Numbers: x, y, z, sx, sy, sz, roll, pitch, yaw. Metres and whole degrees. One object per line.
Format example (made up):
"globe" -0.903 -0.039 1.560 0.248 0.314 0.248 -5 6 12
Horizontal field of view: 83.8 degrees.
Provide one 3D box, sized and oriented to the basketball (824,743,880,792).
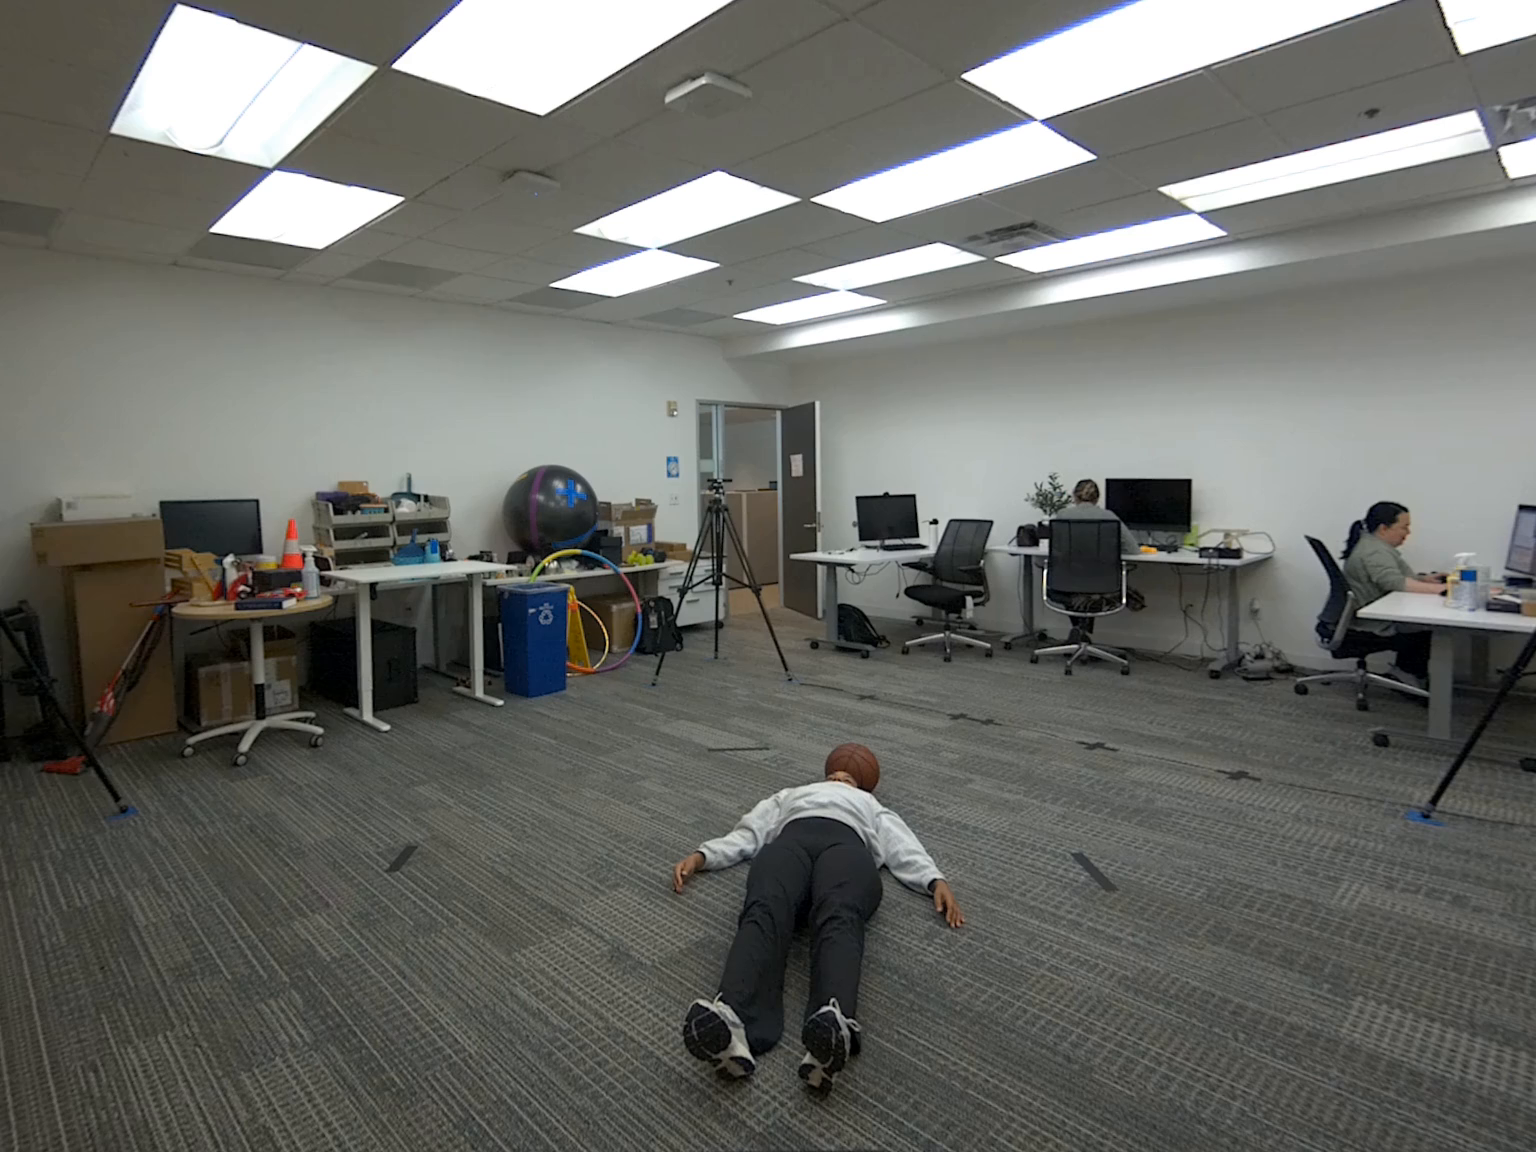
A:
"basketball" 0.368 0.848 3.725 0.236 0.235 0.236 -4 2 -2
